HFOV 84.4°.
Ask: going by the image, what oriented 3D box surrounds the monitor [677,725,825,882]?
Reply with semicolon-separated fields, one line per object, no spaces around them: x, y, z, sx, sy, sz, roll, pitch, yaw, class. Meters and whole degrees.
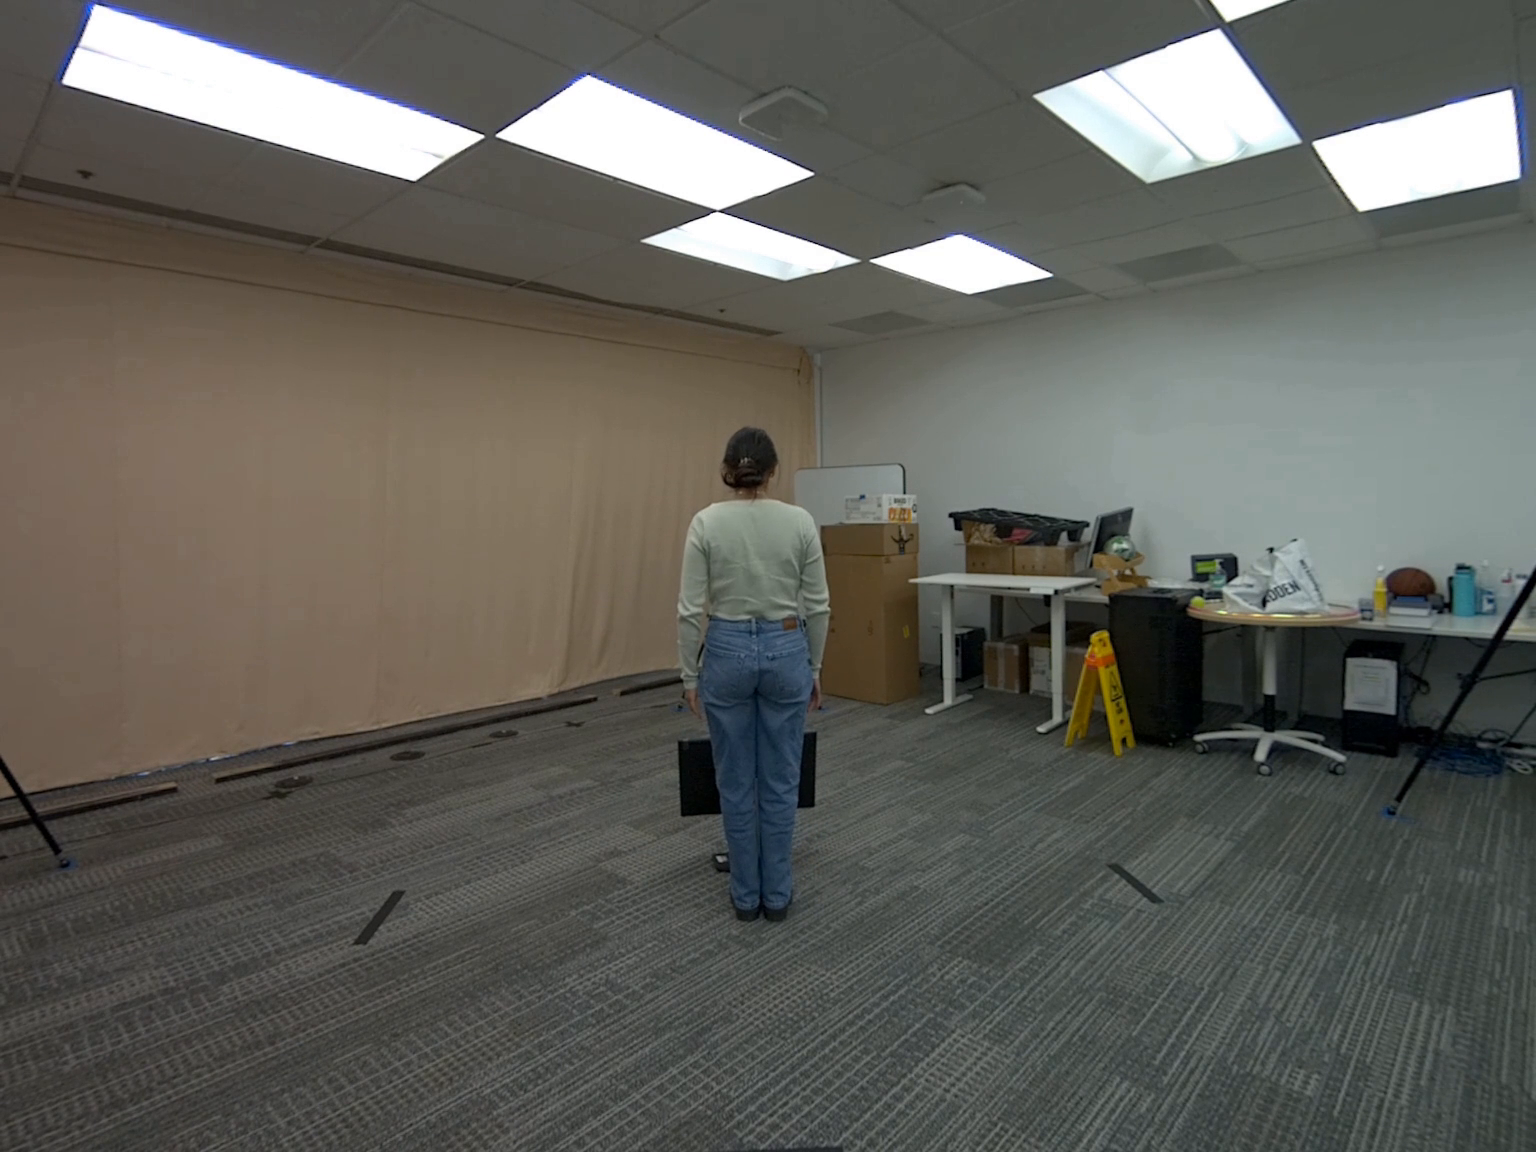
-0.072;0.861;3.243;0.527;0.515;0.176;-2;3;-5;monitor
